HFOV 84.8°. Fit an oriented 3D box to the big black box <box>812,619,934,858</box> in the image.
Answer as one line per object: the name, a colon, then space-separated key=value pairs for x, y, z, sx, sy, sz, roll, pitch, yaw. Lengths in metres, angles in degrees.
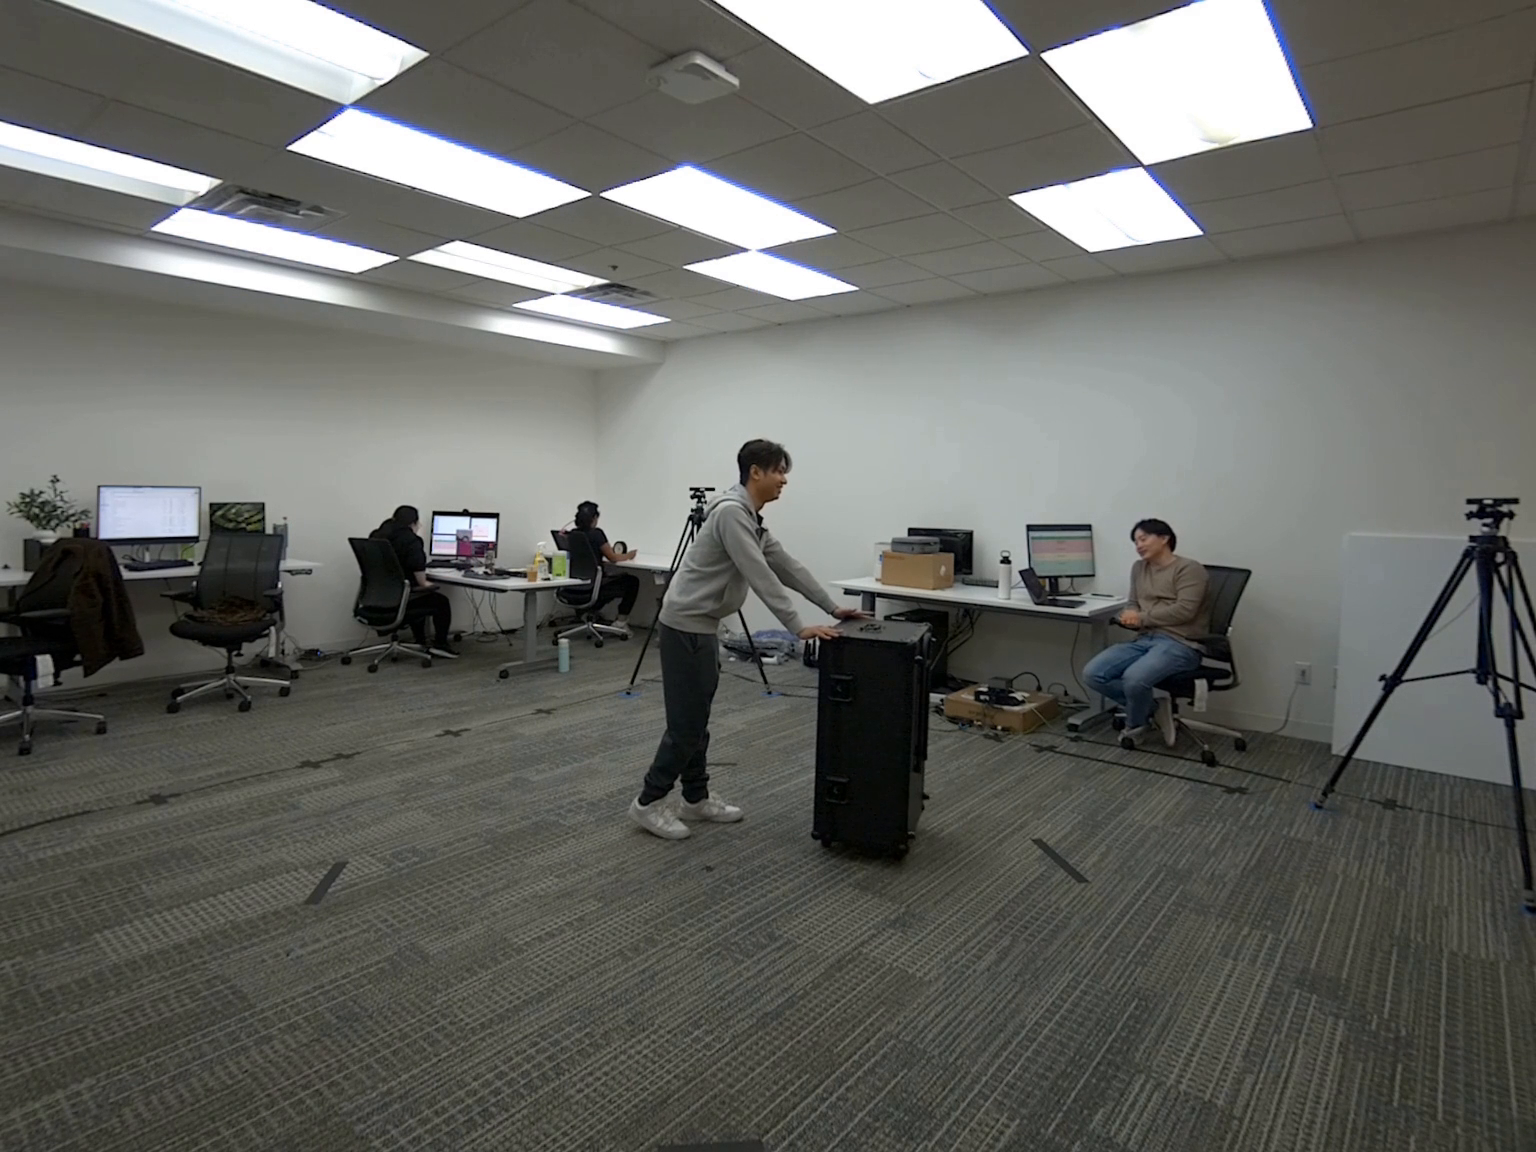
big black box: x=0.422 y=0.628 z=3.366 sx=0.405 sy=0.859 sz=0.512 roll=3 pitch=4 yaw=19
